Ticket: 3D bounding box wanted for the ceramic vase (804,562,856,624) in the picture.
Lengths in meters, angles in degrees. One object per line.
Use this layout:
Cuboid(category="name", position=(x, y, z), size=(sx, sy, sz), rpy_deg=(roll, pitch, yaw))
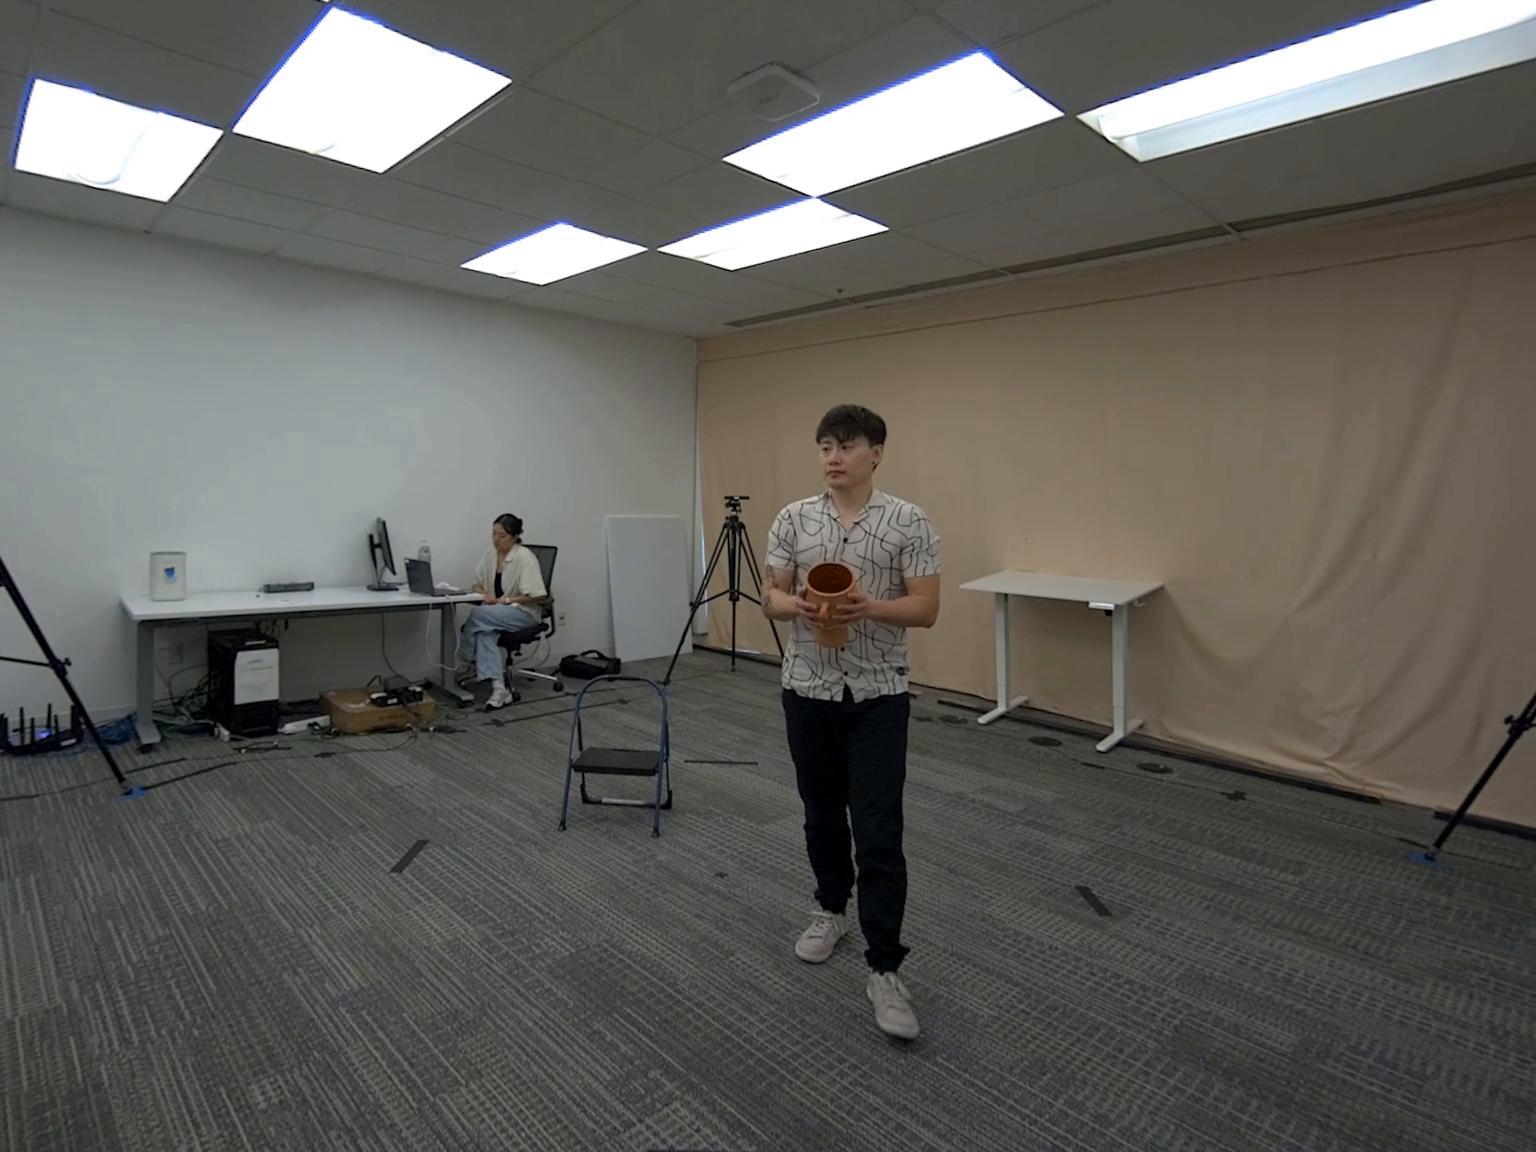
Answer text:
Cuboid(category="ceramic vase", position=(0.157, 0.080, 2.266), size=(0.157, 0.214, 0.139), rpy_deg=(-28, 46, -22))
